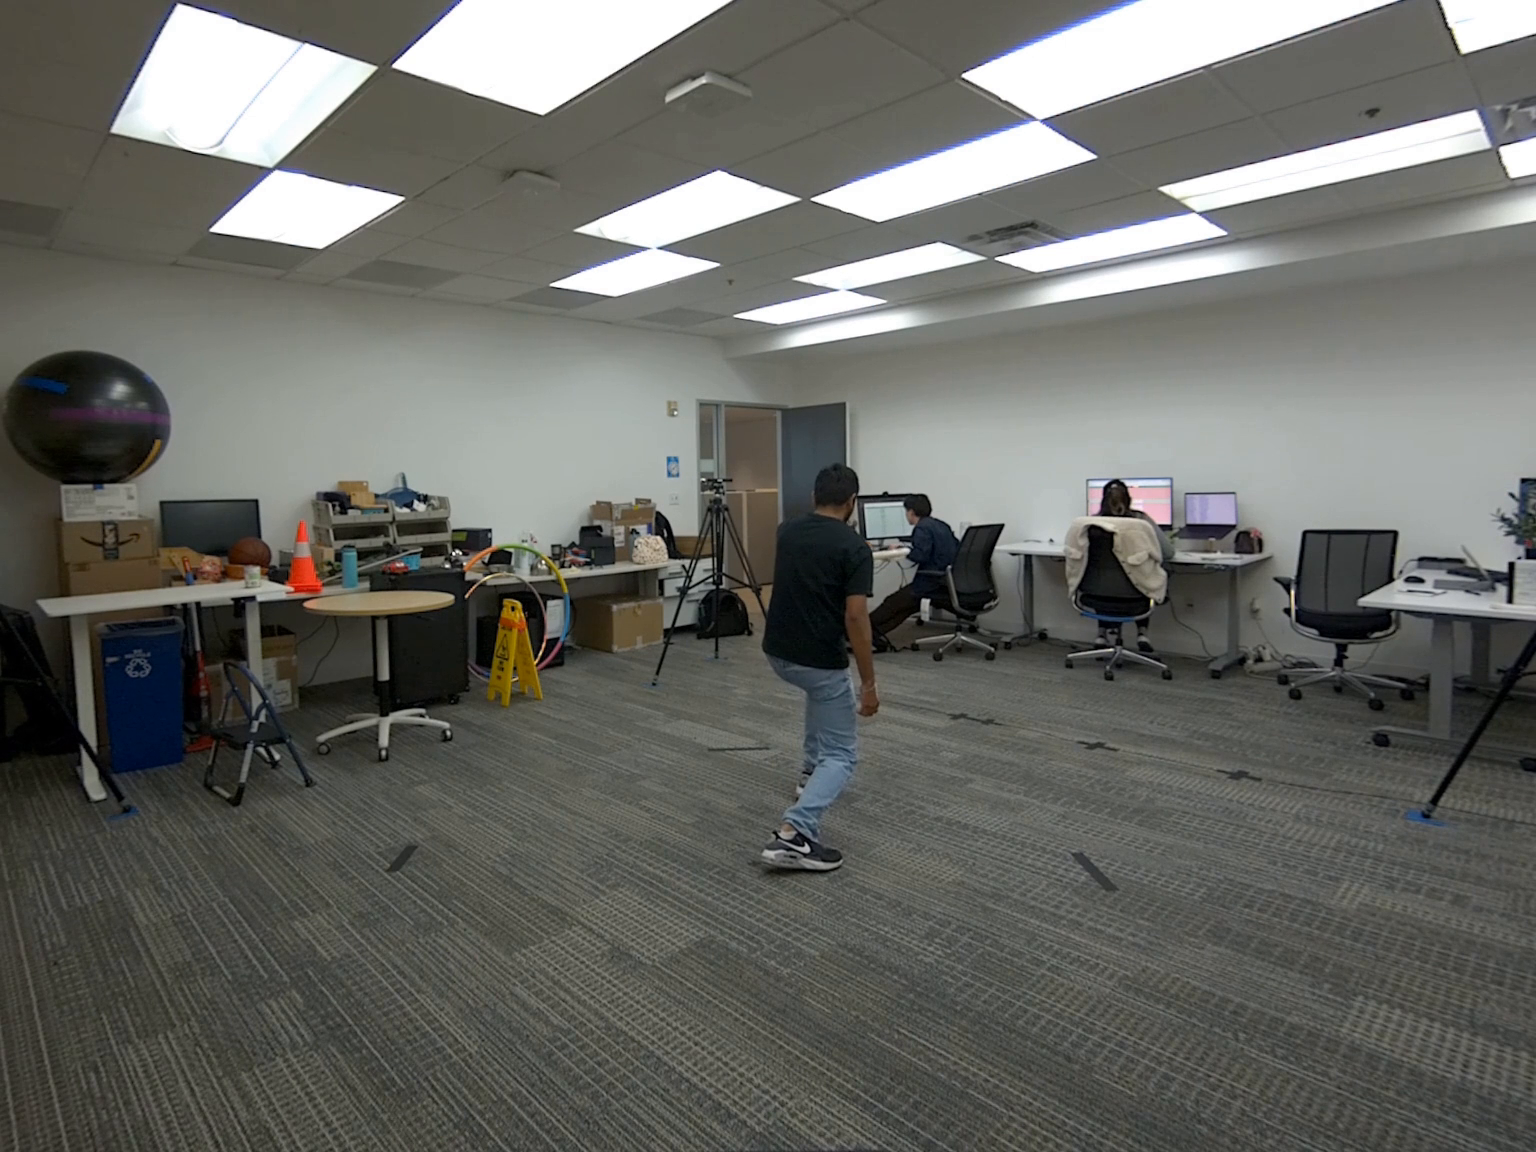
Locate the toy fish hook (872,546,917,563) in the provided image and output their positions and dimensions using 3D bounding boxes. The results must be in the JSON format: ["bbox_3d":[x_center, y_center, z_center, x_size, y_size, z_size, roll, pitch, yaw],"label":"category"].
[{"bbox_3d":[0.439,-0.084,4.188,0.503,0.048,0.225,-7,-1,-7],"label":"toy fish hook"}]
